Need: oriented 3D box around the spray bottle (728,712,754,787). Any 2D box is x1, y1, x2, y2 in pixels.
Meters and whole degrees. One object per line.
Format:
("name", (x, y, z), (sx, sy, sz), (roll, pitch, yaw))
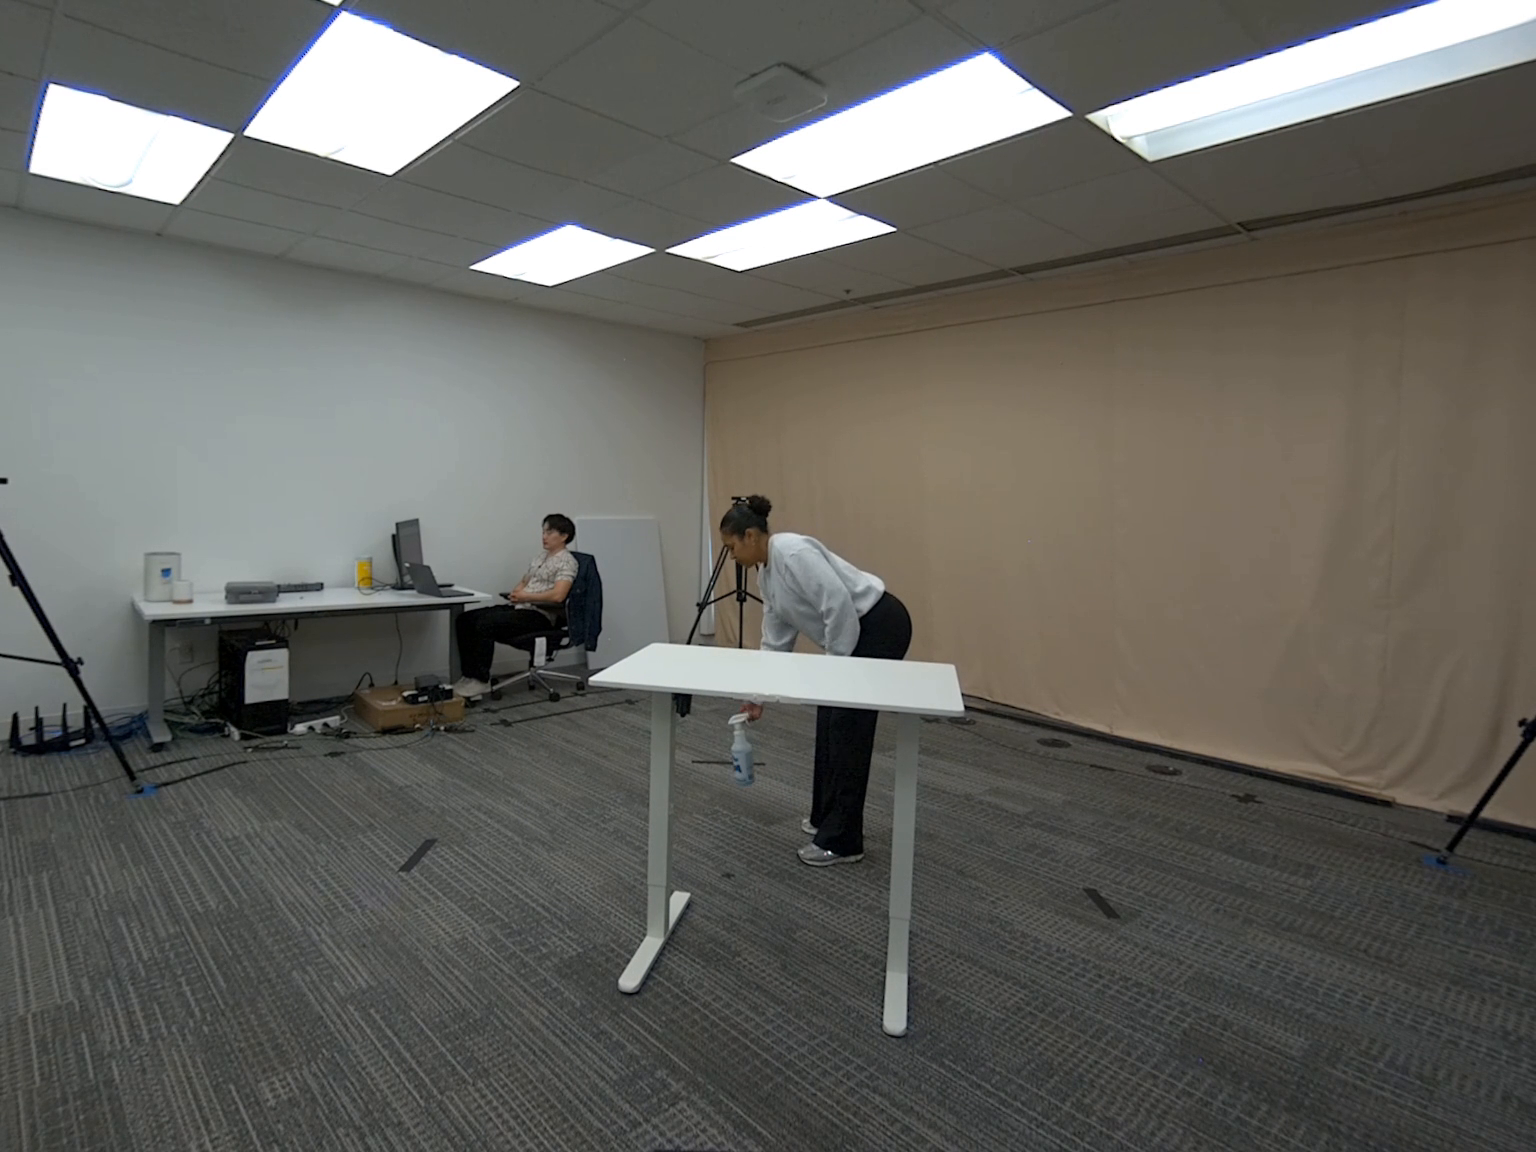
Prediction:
("spray bottle", (-0.115, 0.731, 3.591), (0.091, 0.295, 0.086), (-2, 8, 19))
